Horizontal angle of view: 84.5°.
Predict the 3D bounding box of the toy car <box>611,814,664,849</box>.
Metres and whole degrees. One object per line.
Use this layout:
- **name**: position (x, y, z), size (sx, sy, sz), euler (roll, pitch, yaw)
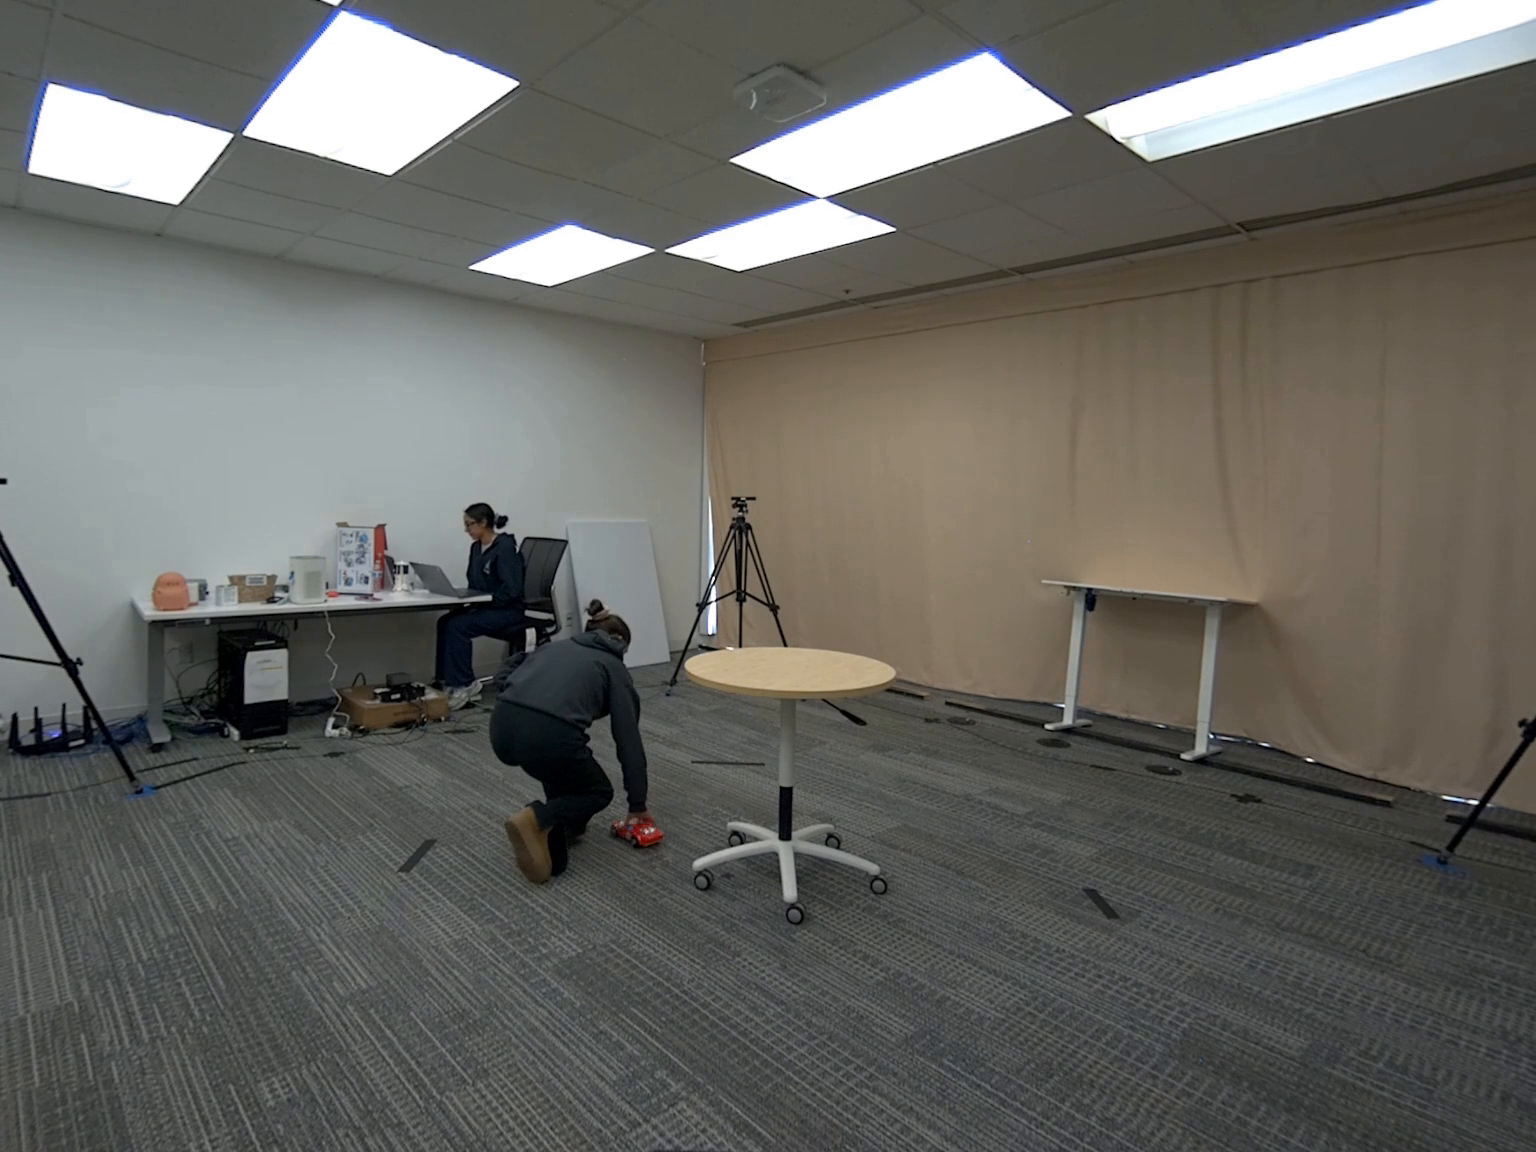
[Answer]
- **toy car**: position (-0.536, 1.039, 3.396), size (0.127, 0.083, 0.259), euler (-2, -4, -43)
